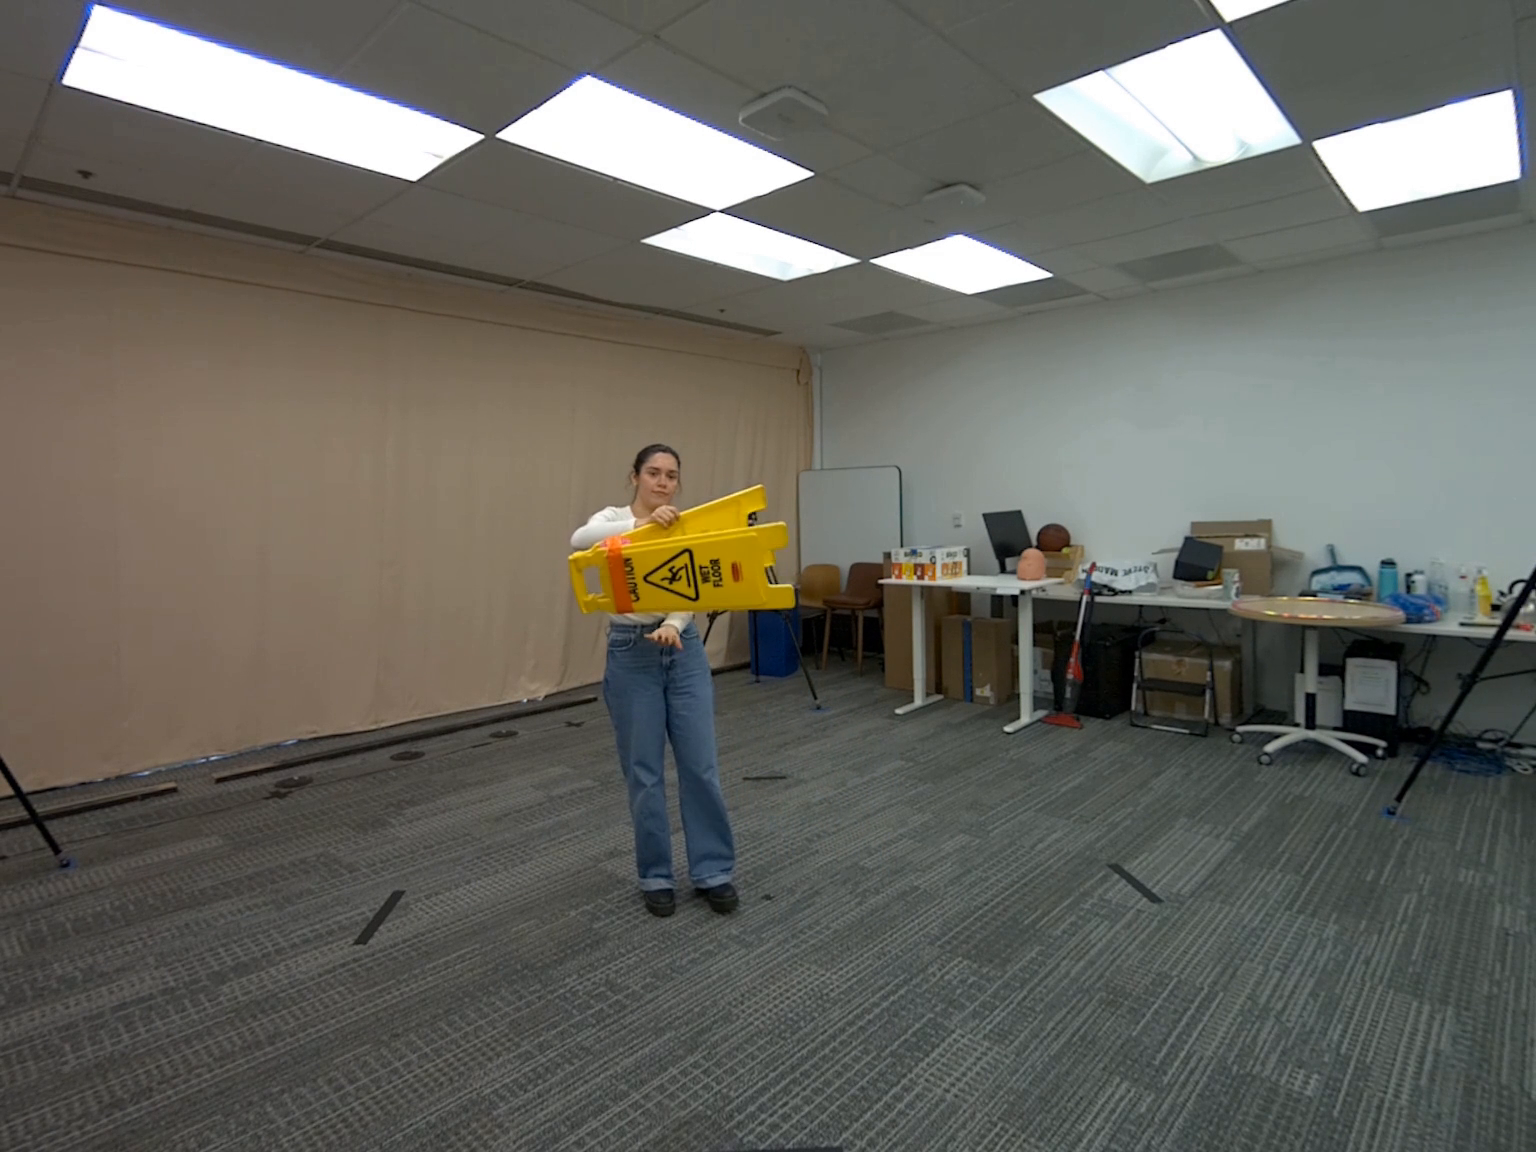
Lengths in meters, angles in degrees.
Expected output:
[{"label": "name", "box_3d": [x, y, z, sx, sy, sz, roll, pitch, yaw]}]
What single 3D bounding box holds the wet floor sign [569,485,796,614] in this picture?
[{"label": "wet floor sign", "box_3d": [-0.280, -0.035, 2.578, 0.643, 0.277, 0.296, -11, 27, -5]}]
